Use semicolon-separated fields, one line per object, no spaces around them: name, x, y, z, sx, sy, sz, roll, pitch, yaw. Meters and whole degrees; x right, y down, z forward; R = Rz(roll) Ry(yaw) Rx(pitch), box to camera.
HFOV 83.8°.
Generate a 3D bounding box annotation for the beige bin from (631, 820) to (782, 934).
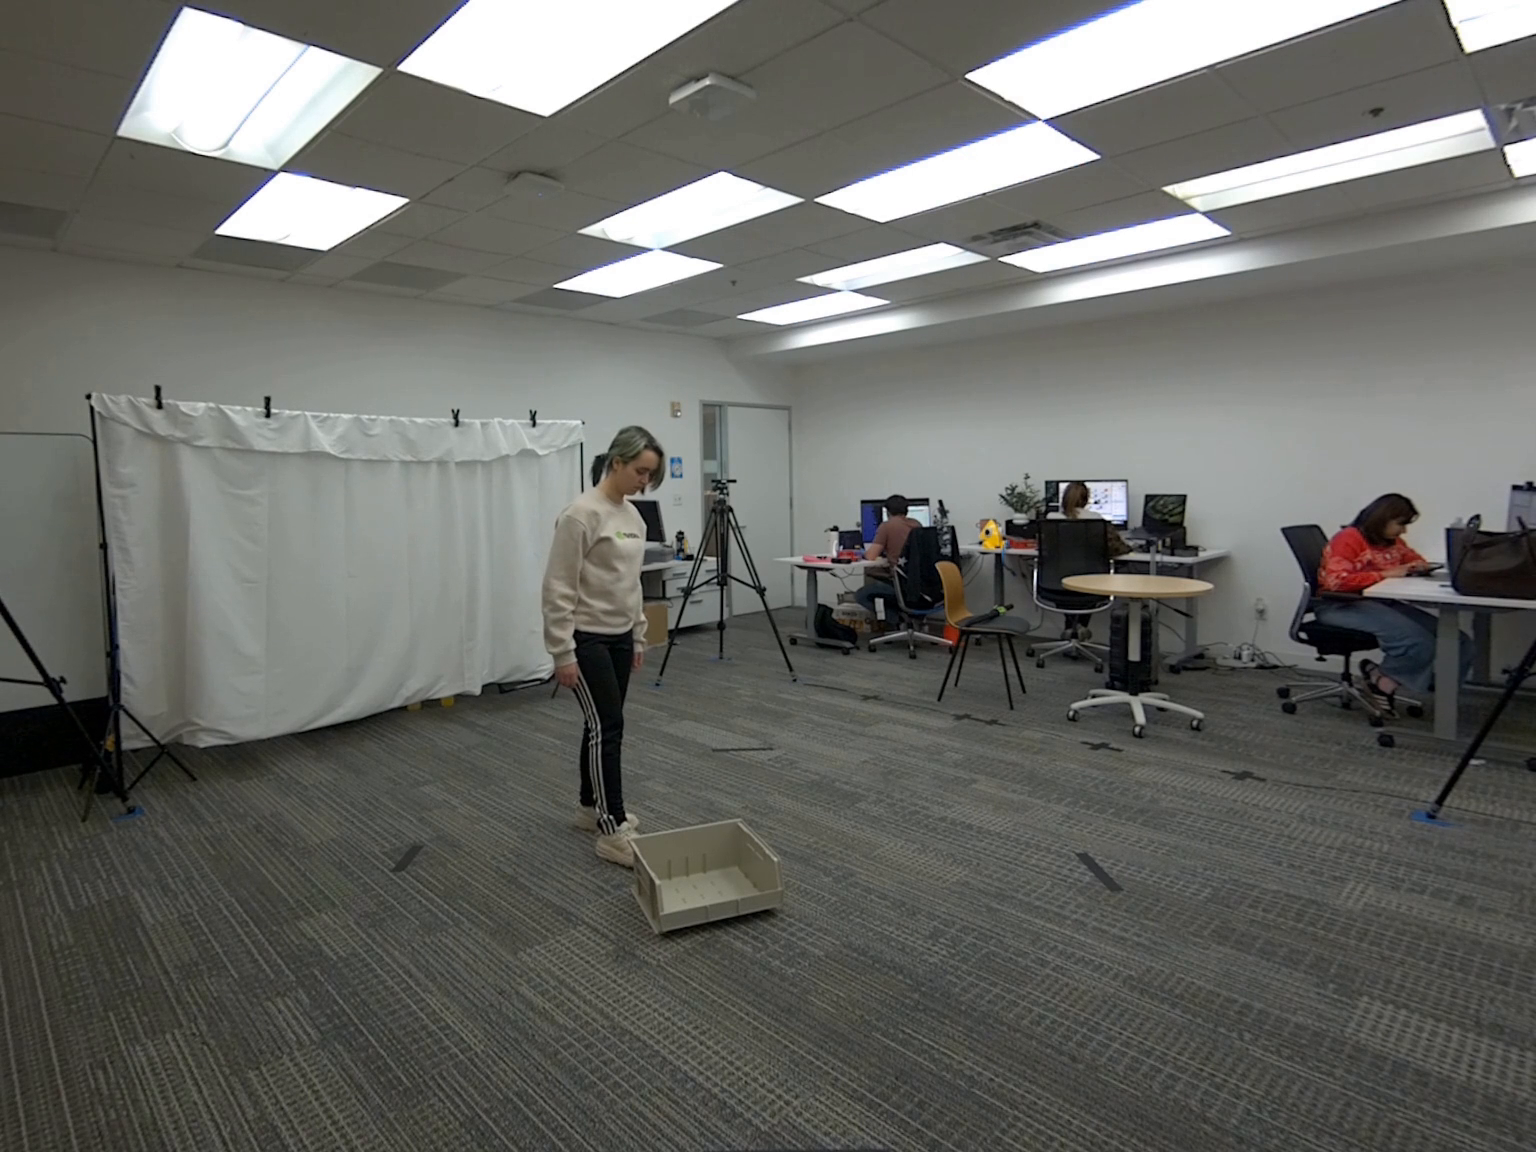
beige bin;-0.210;0.995;2.823;0.414;0.188;0.386;-4;6;-22
